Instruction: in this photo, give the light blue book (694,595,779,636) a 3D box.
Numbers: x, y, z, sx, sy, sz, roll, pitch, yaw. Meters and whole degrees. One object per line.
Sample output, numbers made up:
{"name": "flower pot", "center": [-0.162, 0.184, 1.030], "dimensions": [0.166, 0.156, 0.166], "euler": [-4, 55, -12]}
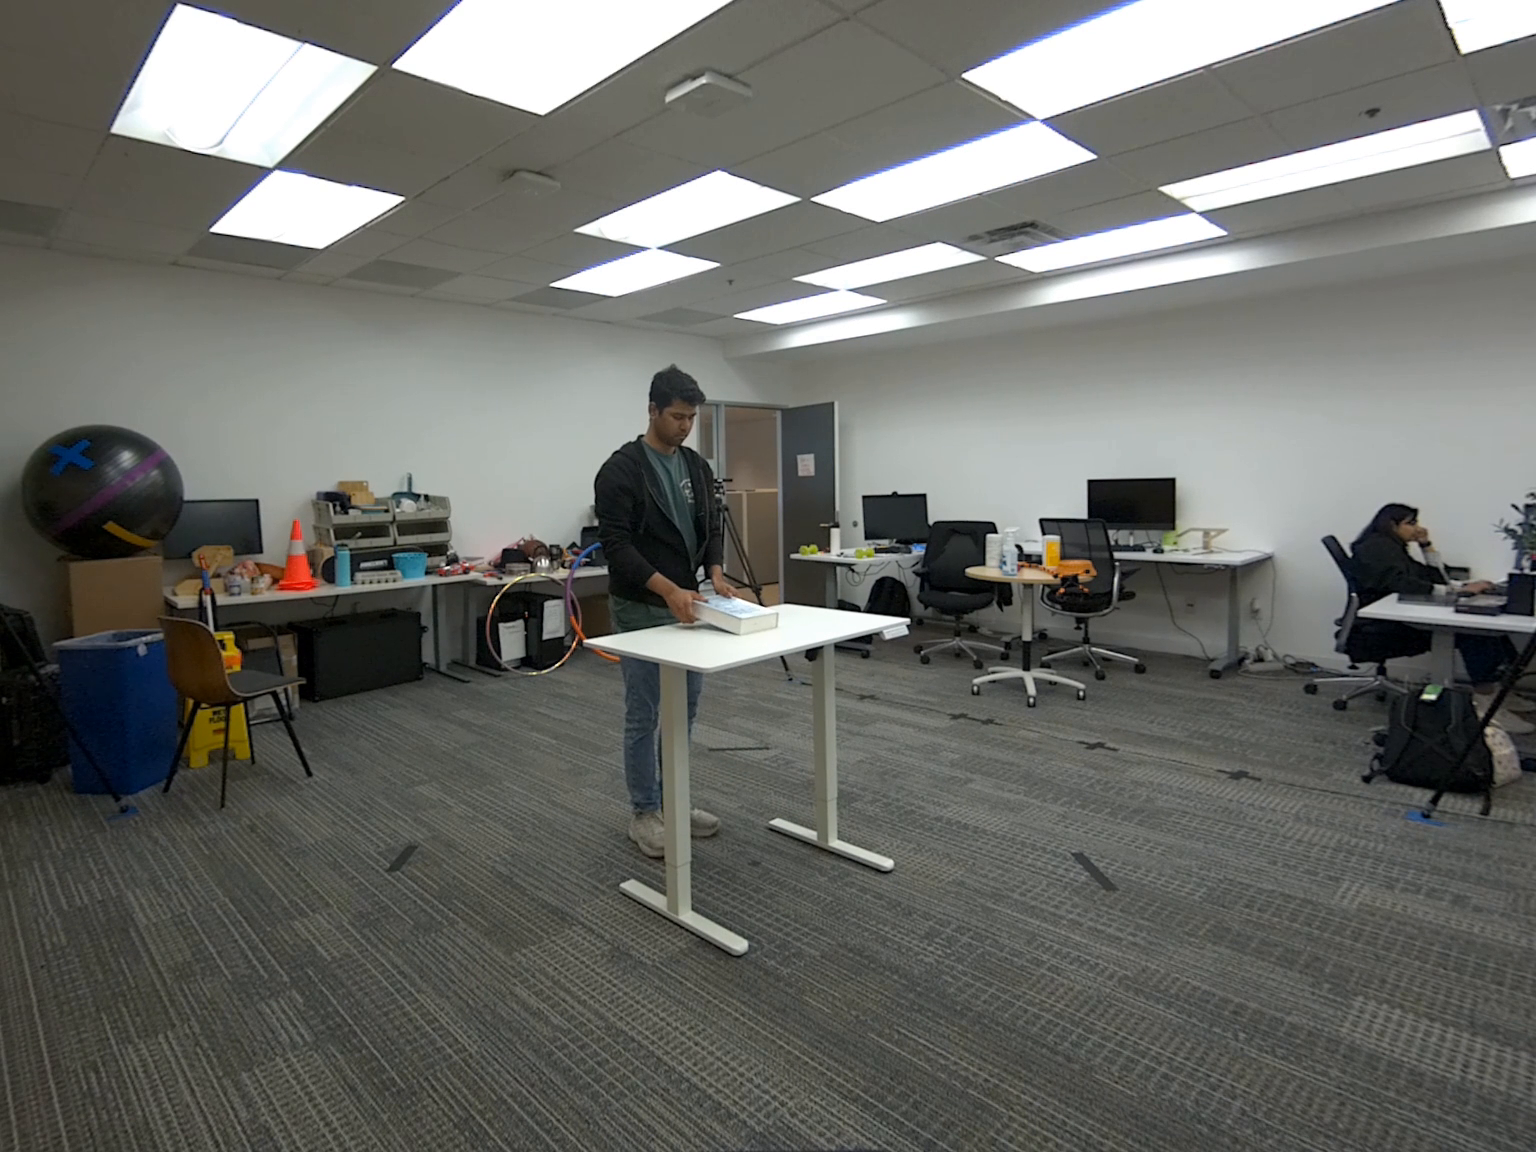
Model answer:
{"name": "light blue book", "center": [-0.123, 0.137, 2.946], "dimensions": [0.270, 0.058, 0.186], "euler": [14, 14, 41]}
